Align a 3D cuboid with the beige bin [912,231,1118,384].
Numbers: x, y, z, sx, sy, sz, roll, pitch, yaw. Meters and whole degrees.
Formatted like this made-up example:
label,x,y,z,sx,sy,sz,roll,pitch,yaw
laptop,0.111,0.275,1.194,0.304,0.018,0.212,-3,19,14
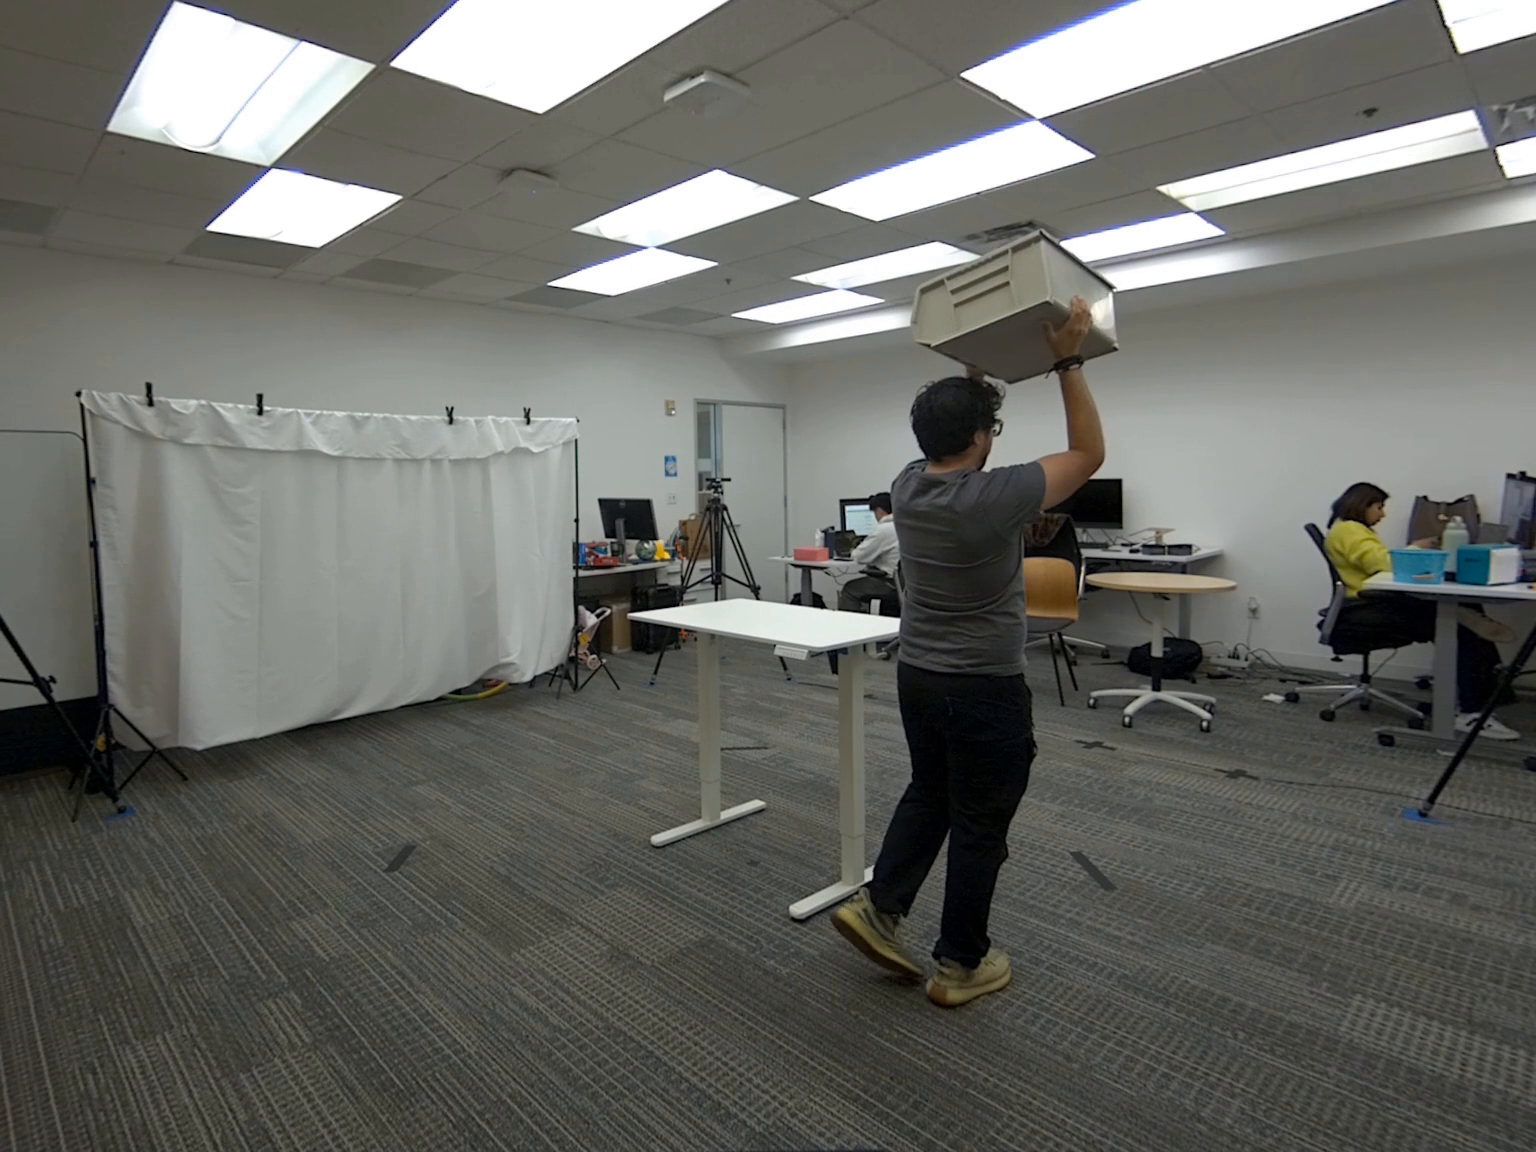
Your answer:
label,x,y,z,sx,sy,sz,roll,pitch,yaw
beige bin,0.655,-0.678,2.244,0.408,0.191,0.386,9,-14,-44
